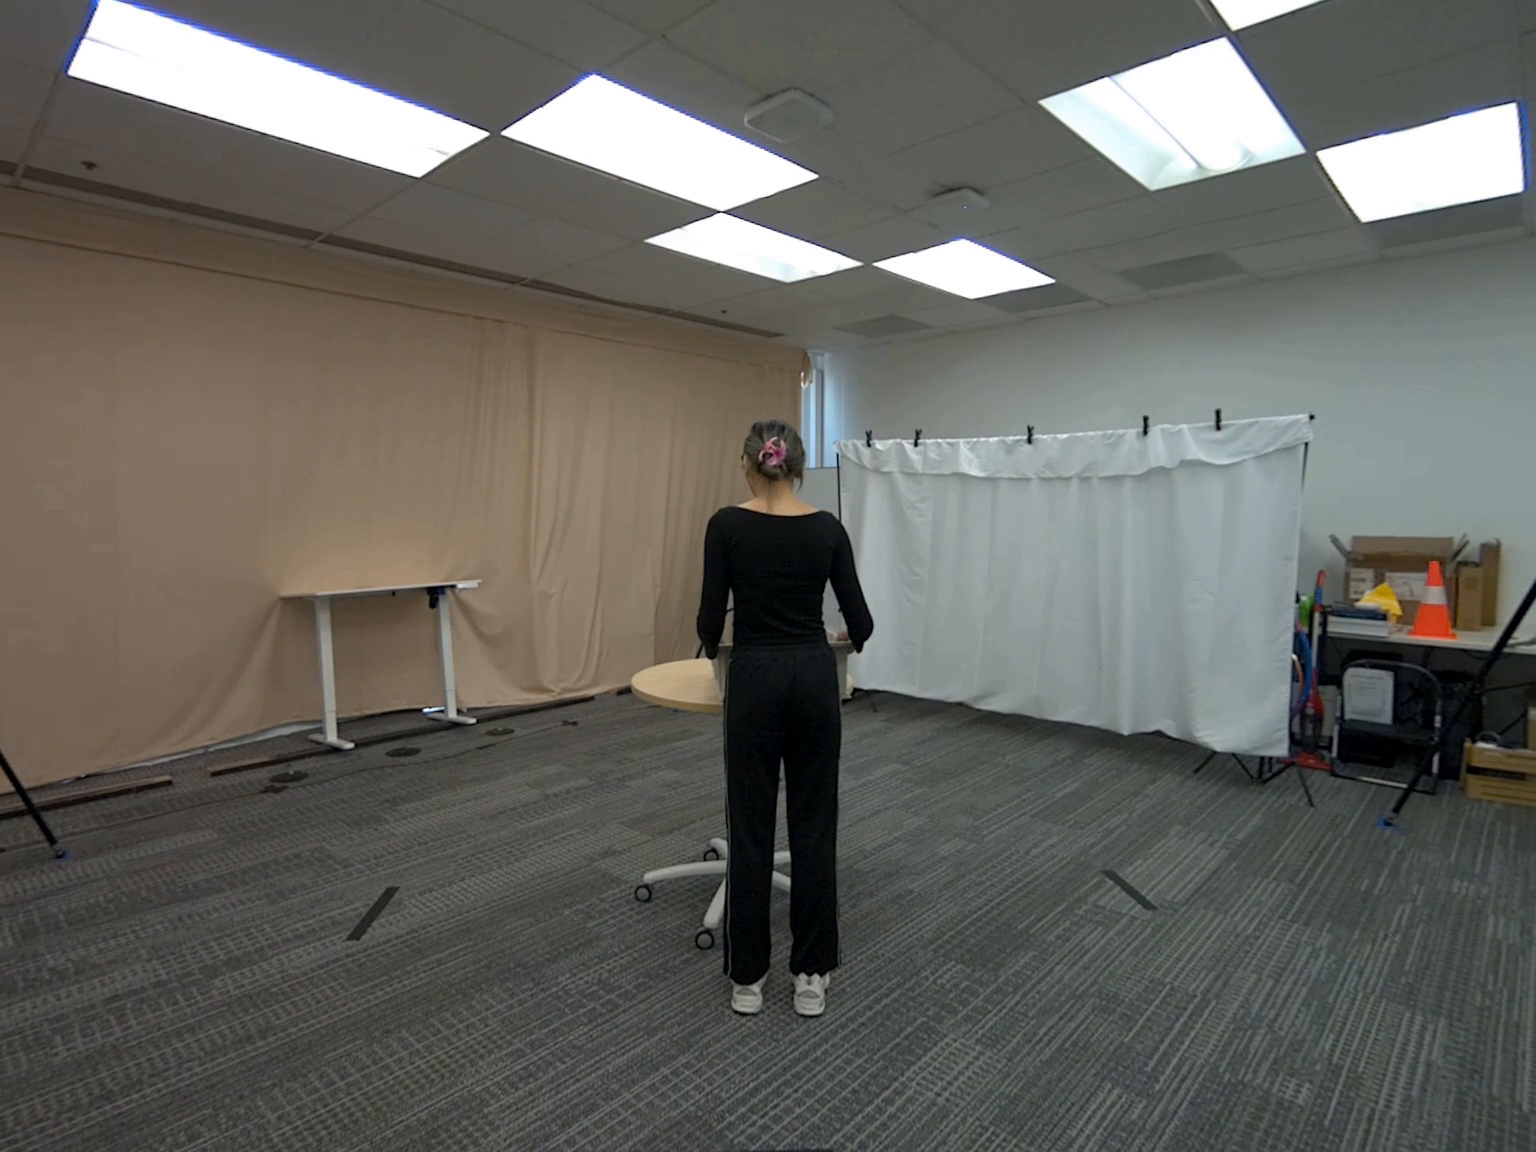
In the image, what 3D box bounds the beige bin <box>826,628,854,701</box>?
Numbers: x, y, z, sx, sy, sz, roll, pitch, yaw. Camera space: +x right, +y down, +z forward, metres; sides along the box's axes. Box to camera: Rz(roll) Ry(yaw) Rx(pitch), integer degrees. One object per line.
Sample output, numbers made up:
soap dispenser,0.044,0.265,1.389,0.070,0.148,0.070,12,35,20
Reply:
beige bin,0.030,0.279,2.778,0.420,0.188,0.380,1,5,-5
